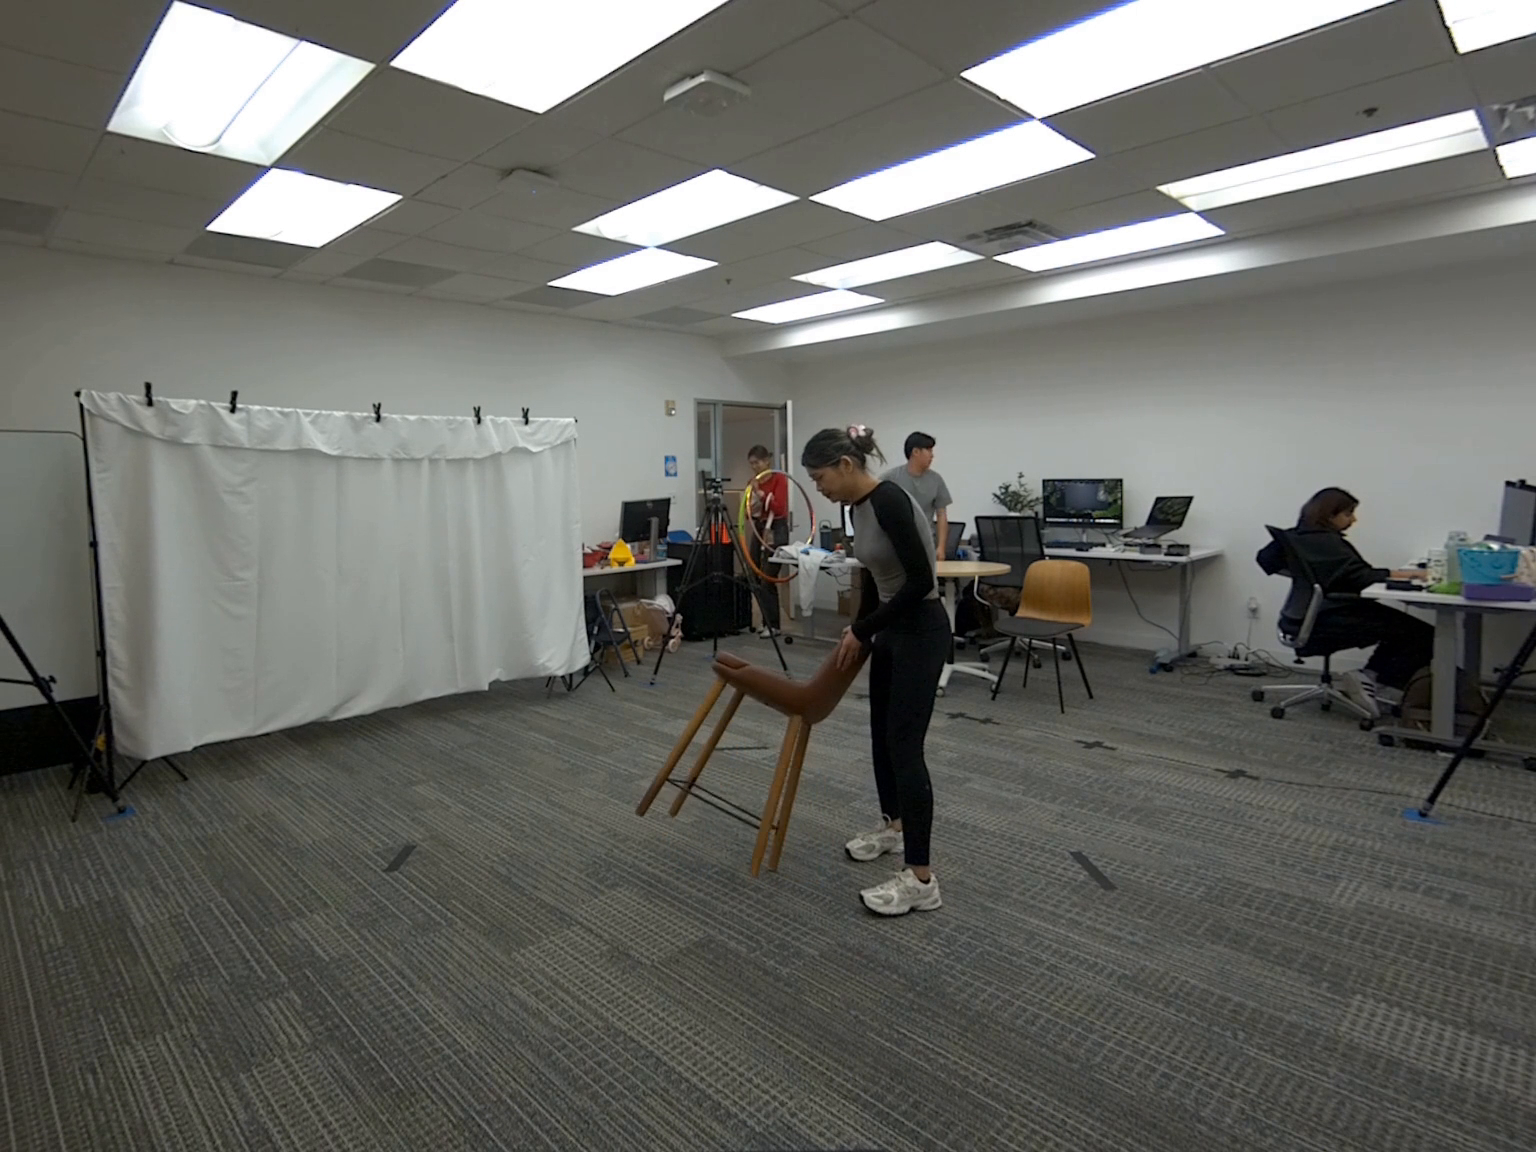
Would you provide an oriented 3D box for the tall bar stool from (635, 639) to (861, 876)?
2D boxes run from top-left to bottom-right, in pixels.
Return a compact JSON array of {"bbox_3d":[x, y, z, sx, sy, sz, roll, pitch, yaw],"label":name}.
[{"bbox_3d":[-0.021,0.540,3.031,0.479,0.893,0.444,23,-11,20],"label":"tall bar stool"}]
